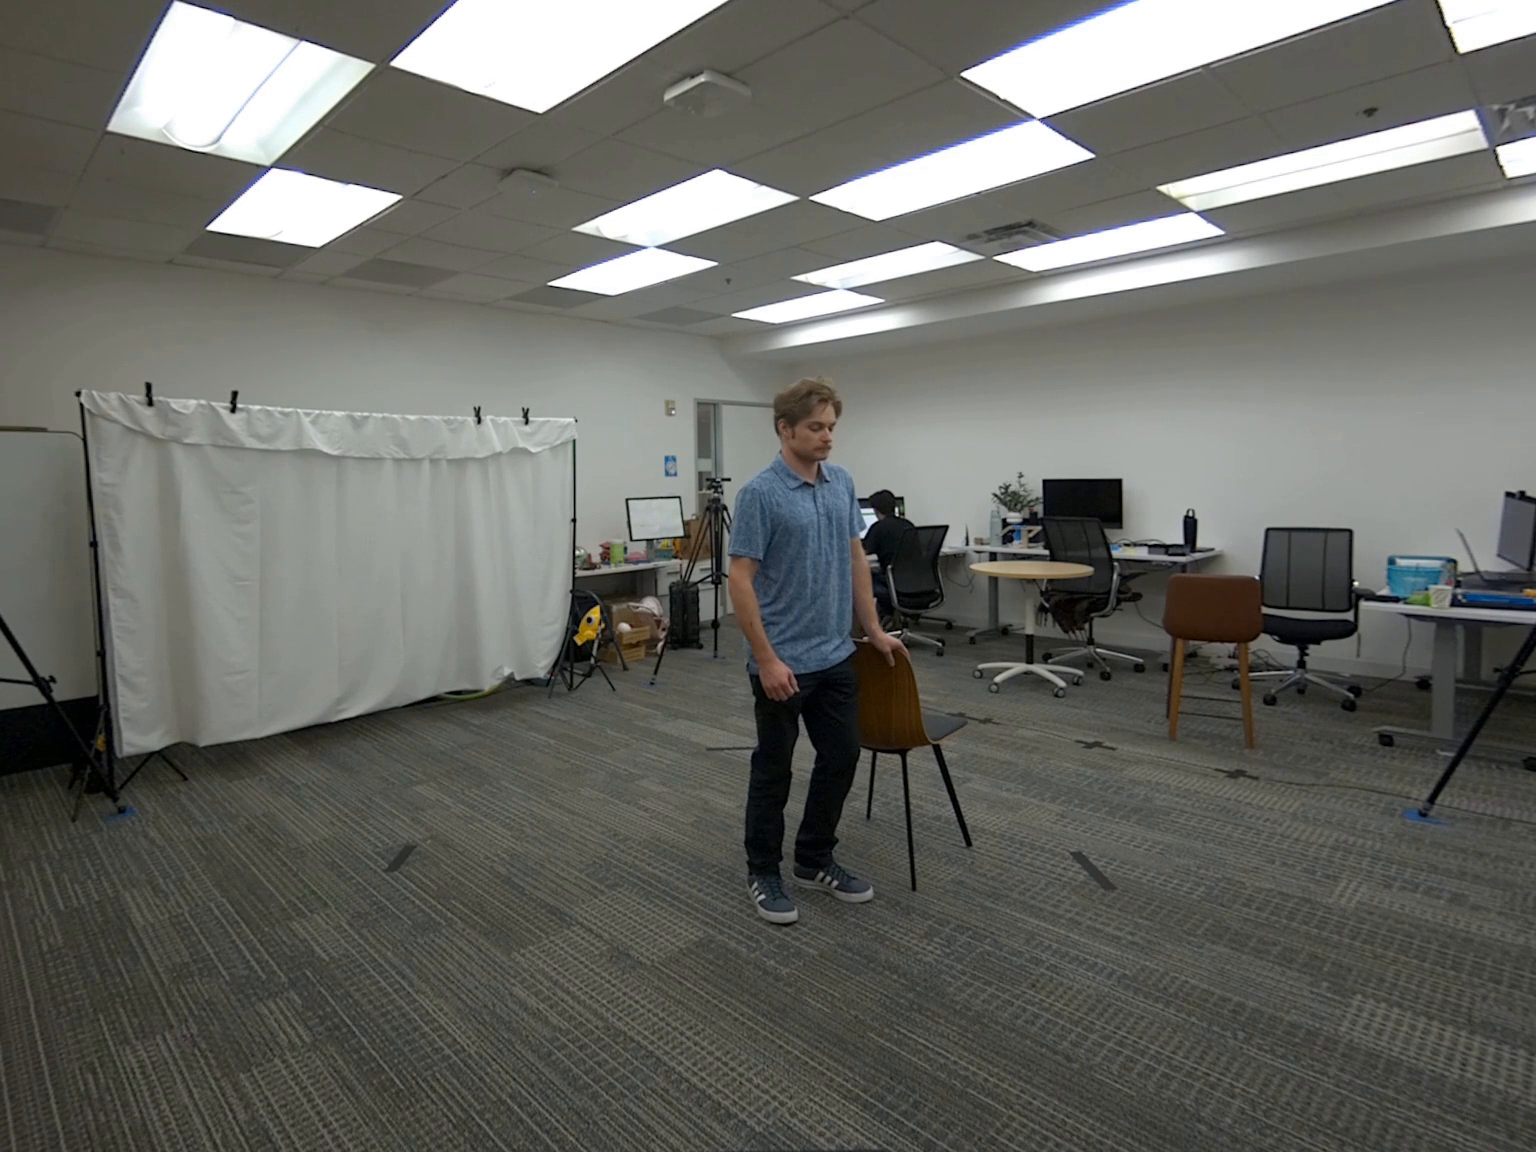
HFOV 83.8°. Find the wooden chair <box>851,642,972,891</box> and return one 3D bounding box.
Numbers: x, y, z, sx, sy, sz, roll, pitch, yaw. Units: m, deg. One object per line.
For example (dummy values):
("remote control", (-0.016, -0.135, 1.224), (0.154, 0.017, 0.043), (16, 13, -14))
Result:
("wooden chair", (0.450, 0.598, 3.161), (0.492, 0.871, 0.512), (2, 10, 38))
